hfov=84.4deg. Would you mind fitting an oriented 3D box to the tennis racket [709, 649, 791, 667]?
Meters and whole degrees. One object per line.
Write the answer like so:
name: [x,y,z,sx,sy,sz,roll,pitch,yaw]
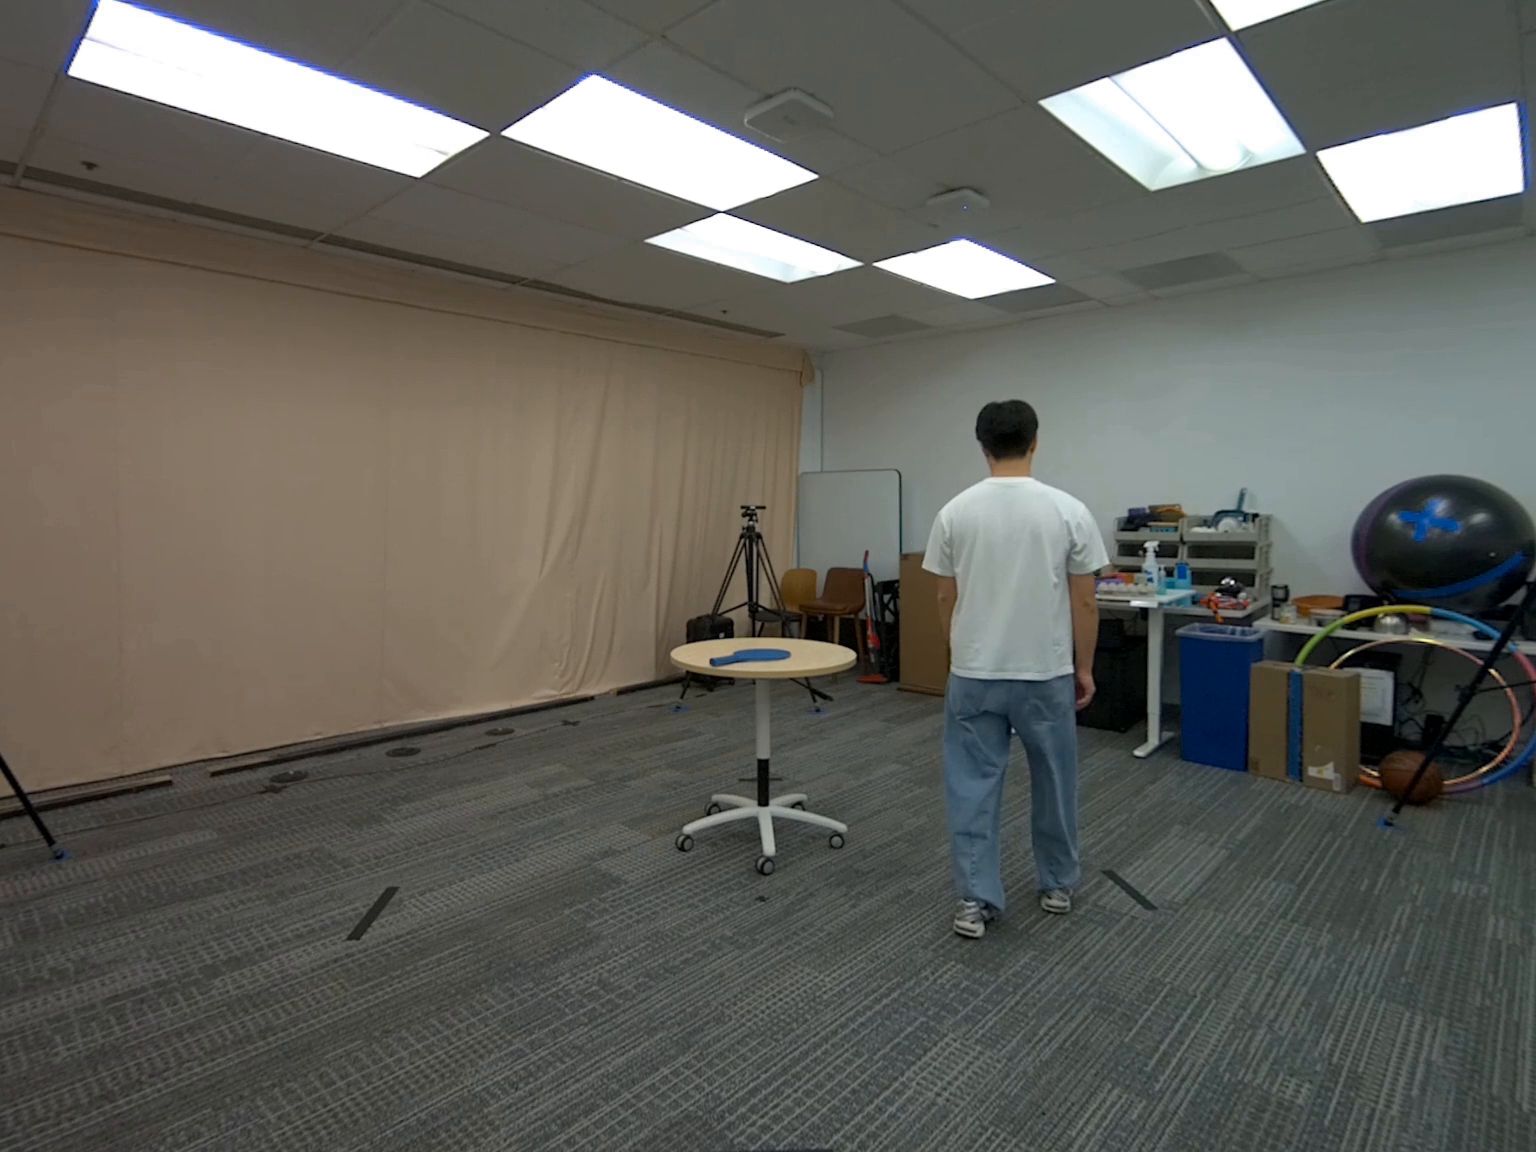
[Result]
tennis racket: [-0.081,0.321,3.352,0.221,0.032,0.419,4,5,42]
